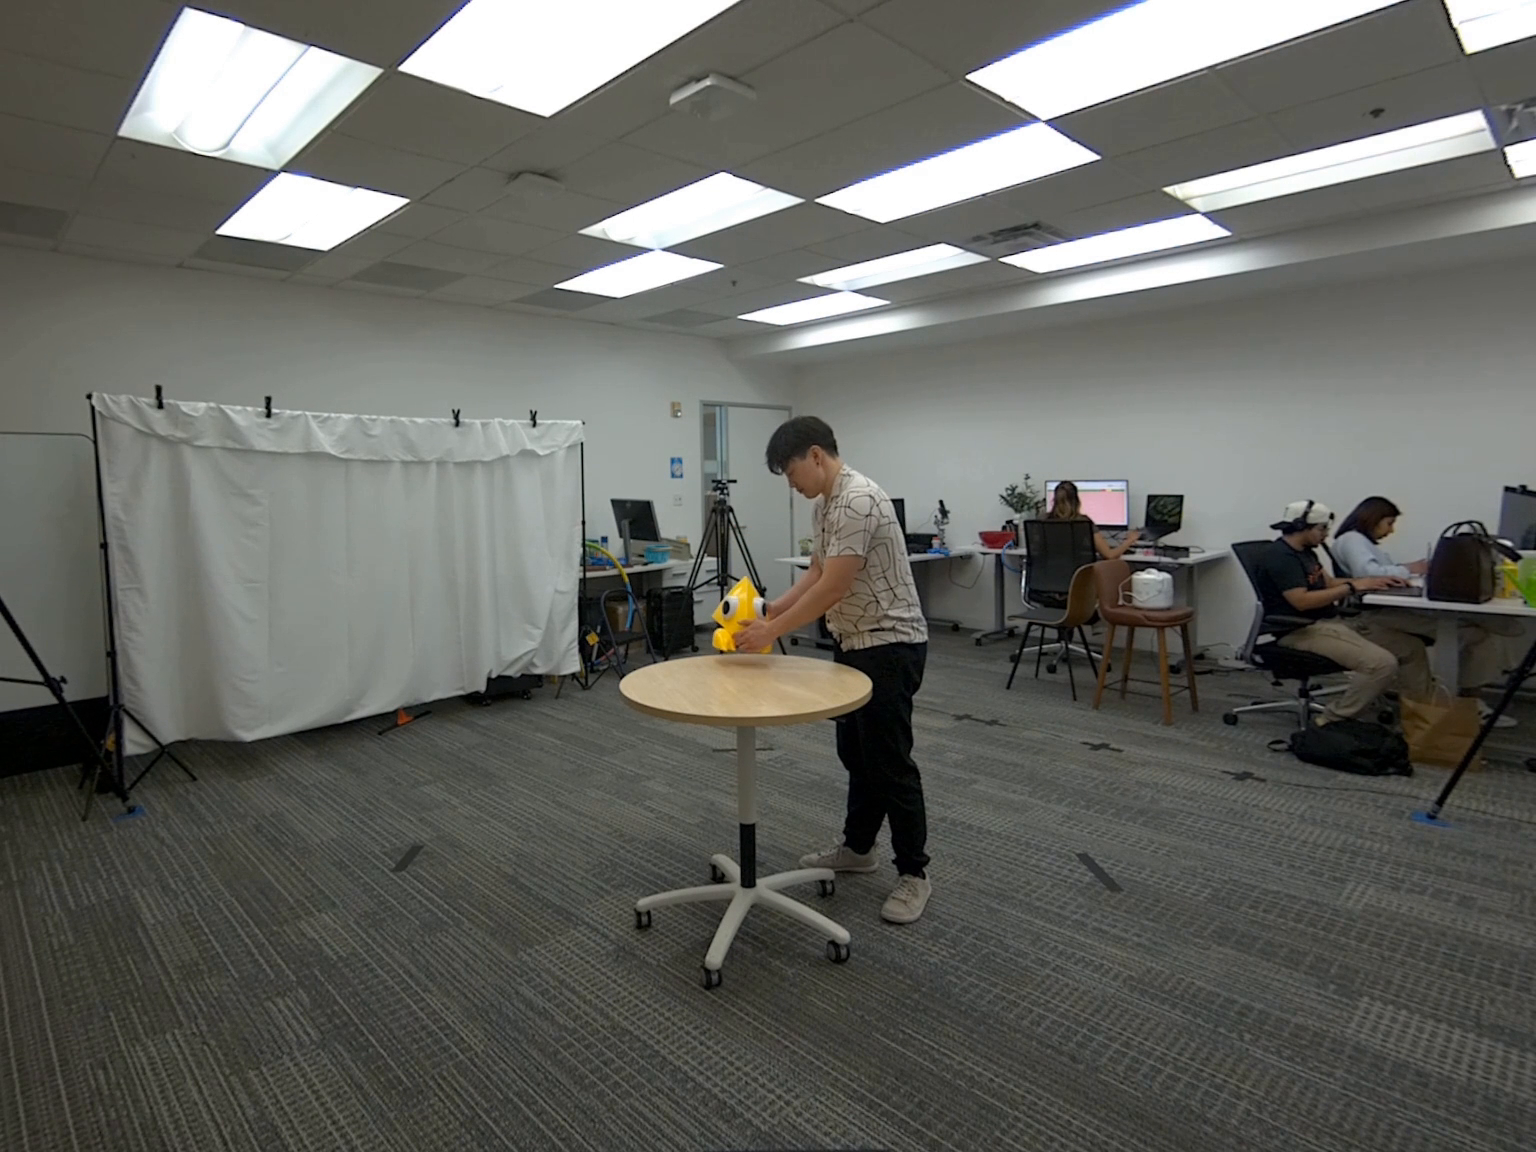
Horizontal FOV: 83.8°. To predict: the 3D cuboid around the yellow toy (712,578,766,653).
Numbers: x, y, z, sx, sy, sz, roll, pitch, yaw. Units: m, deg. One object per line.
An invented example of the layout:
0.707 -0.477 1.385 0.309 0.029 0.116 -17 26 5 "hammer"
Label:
-0.072 0.119 2.864 0.204 0.230 0.195 4 4 -6 "yellow toy"
